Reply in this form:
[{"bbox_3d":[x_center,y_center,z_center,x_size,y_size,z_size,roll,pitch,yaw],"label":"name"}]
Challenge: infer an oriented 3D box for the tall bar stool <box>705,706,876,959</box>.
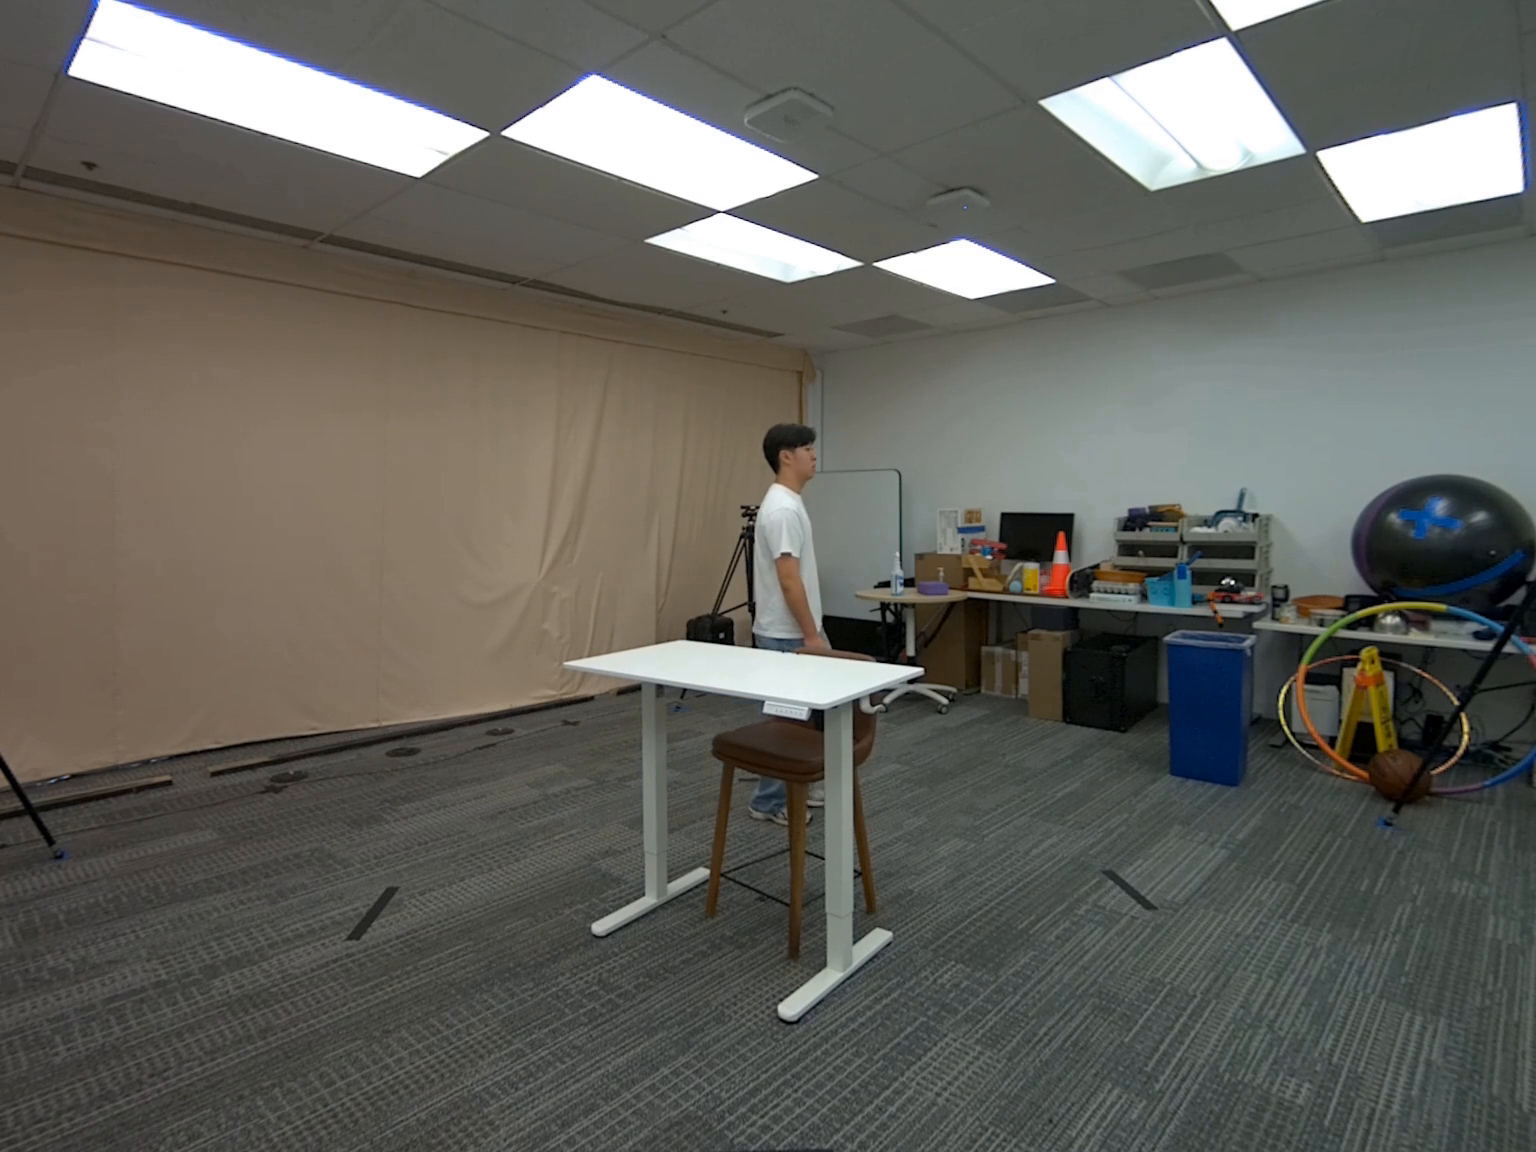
[{"bbox_3d":[0.101,0.717,2.853,0.452,0.889,0.472,1,2,-45],"label":"tall bar stool"}]
